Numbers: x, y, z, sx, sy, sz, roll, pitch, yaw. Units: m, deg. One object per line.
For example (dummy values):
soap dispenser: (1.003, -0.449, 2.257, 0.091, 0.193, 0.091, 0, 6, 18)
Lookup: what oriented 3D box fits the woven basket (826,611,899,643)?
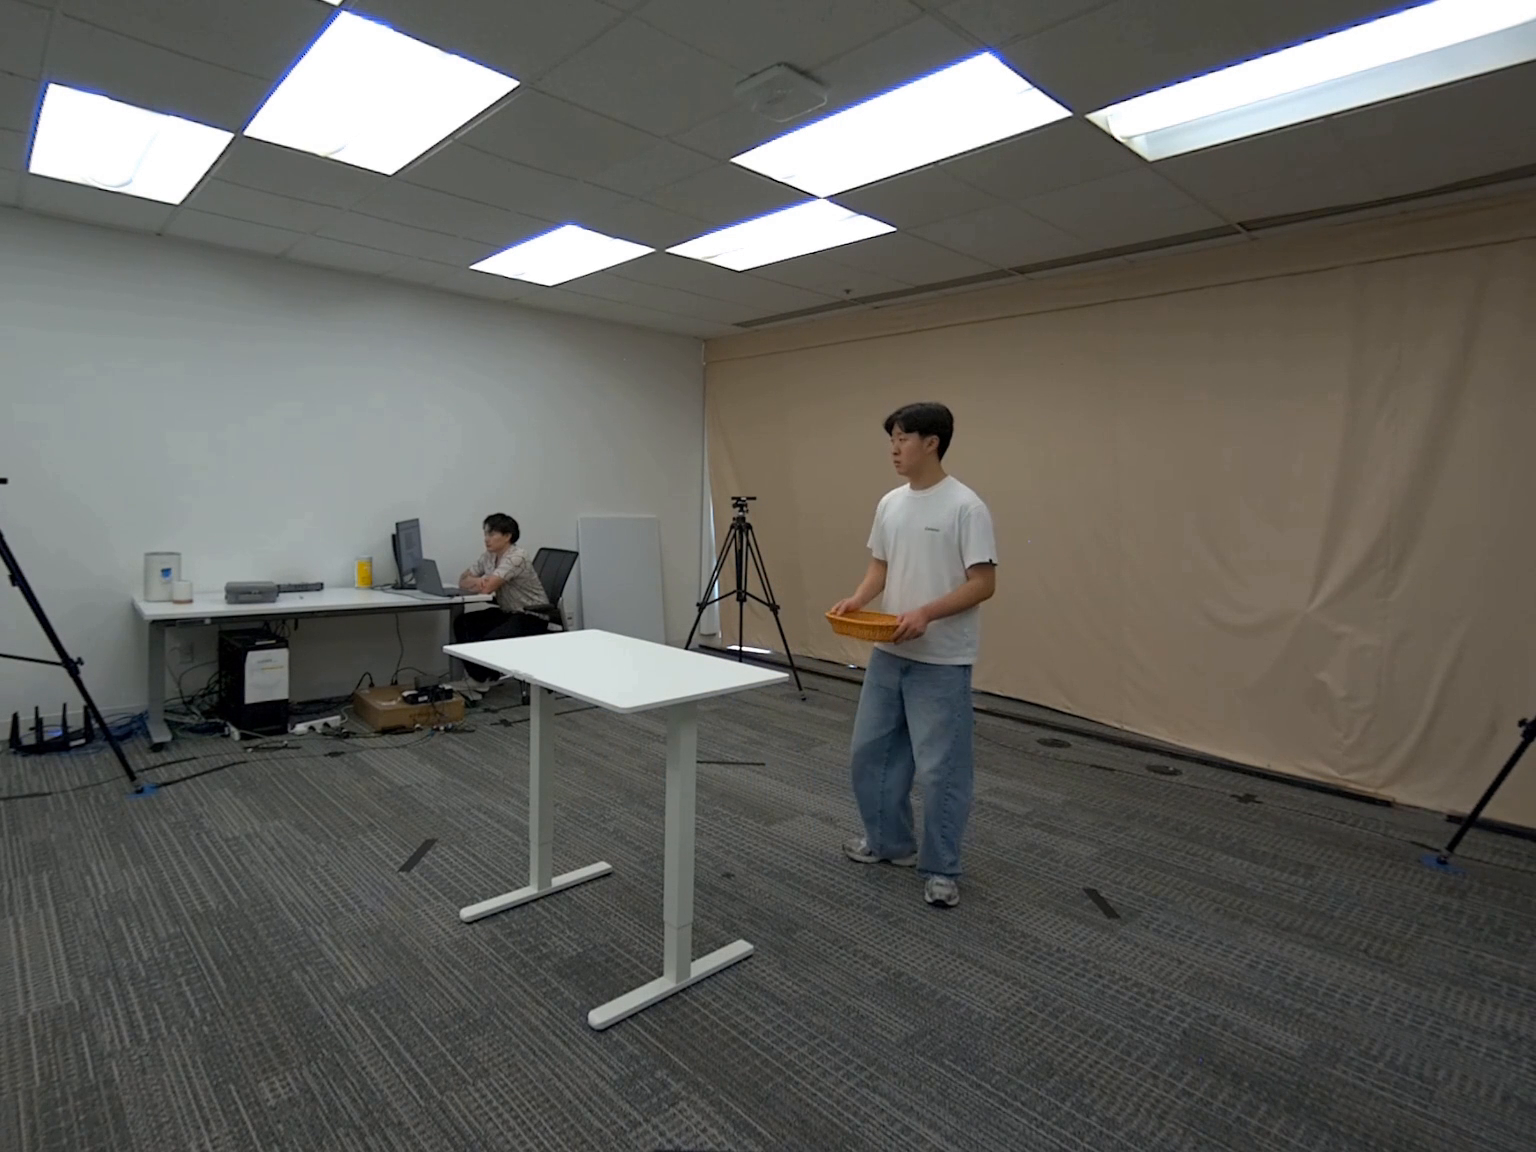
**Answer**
woven basket: (0.349, 0.170, 2.954, 0.359, 0.073, 0.247, 6, 6, 41)
